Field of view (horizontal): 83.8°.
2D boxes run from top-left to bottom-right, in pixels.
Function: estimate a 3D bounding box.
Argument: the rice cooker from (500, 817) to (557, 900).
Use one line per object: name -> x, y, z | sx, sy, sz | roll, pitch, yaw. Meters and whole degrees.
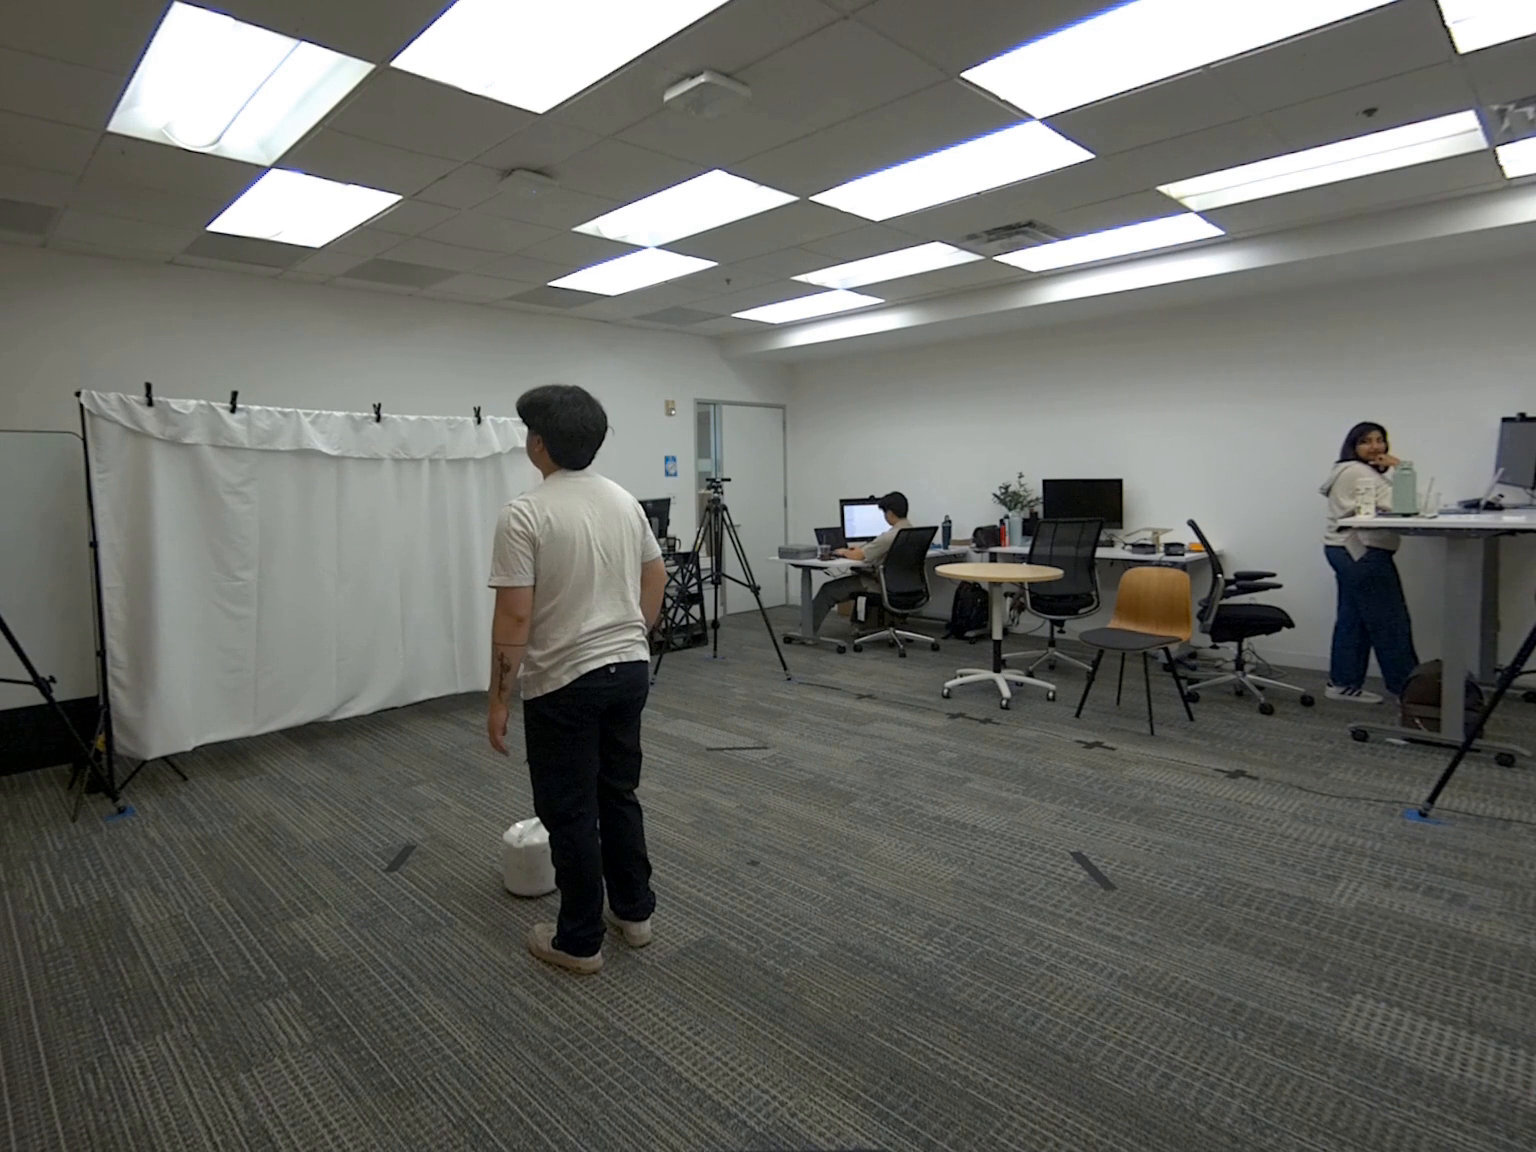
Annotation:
rice cooker -> -0.804, 0.957, 2.959 | 0.221, 0.232, 0.218 | -1, 5, 15
